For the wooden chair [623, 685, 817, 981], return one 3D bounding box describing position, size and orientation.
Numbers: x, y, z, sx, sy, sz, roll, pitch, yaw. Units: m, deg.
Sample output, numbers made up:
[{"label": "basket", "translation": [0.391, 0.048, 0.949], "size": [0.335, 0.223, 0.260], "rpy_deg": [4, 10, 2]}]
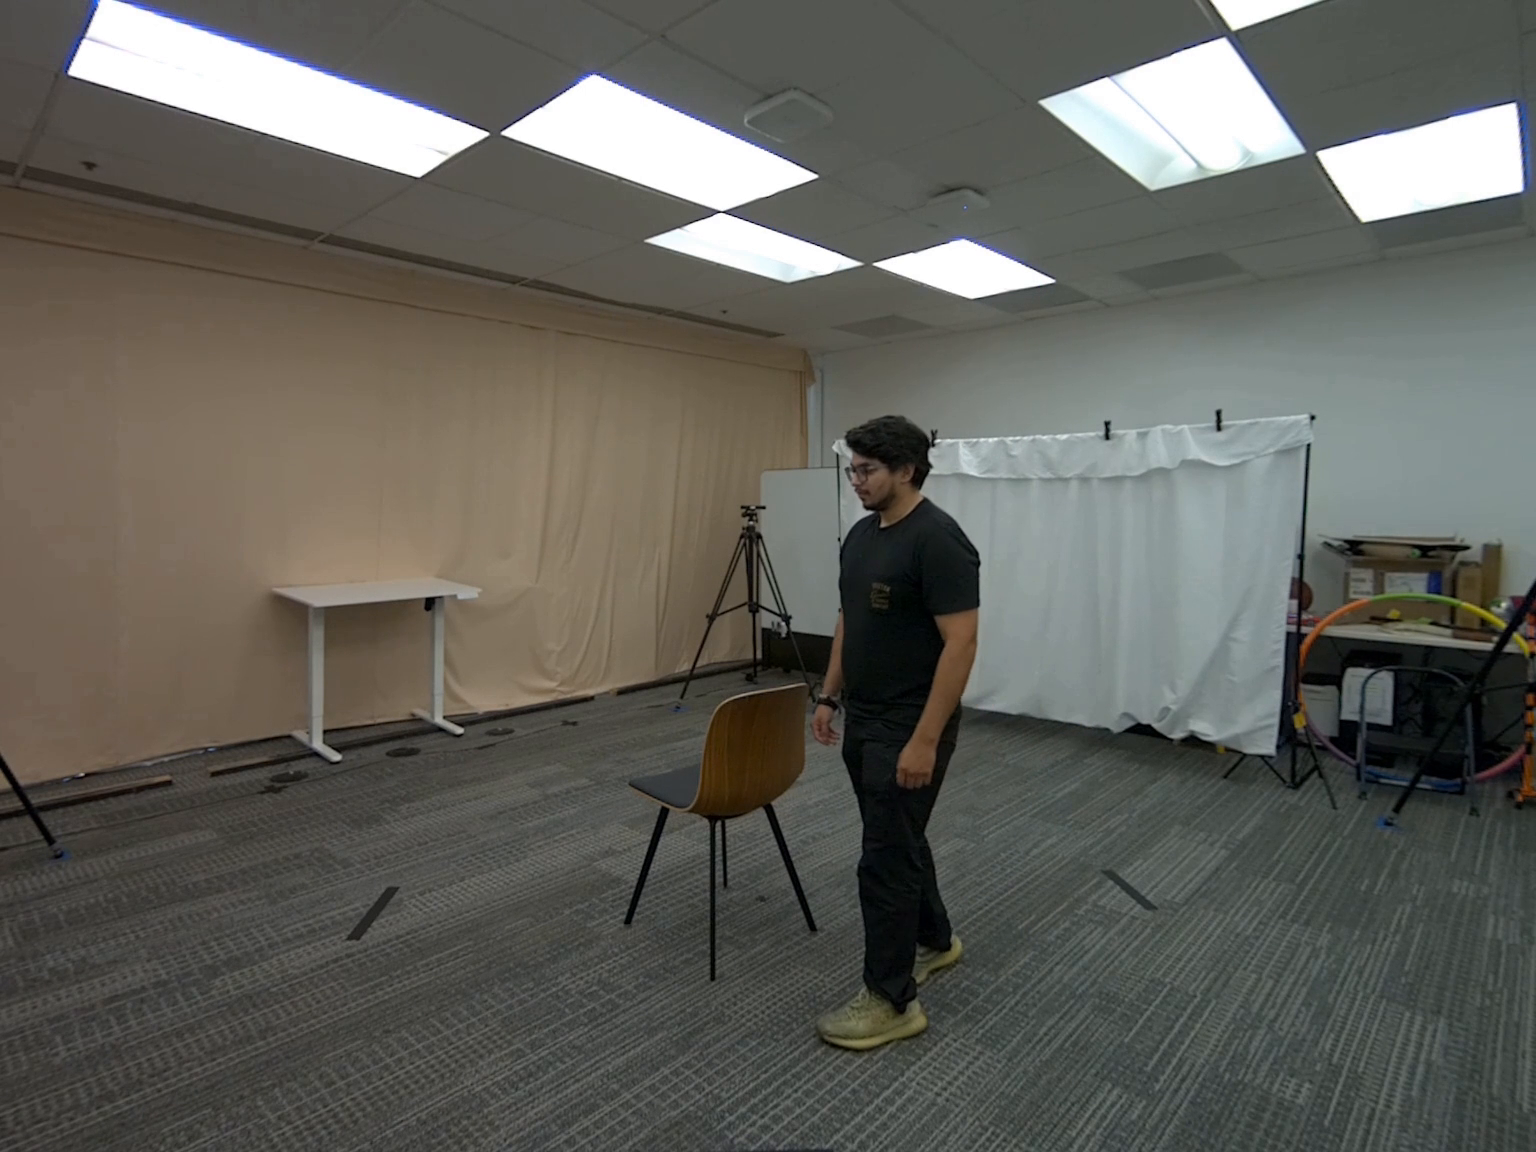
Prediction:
[{"label": "wooden chair", "translation": [-0.166, 0.737, 2.757], "size": [0.463, 0.874, 0.541], "rpy_deg": [-3, 9, -43]}]
